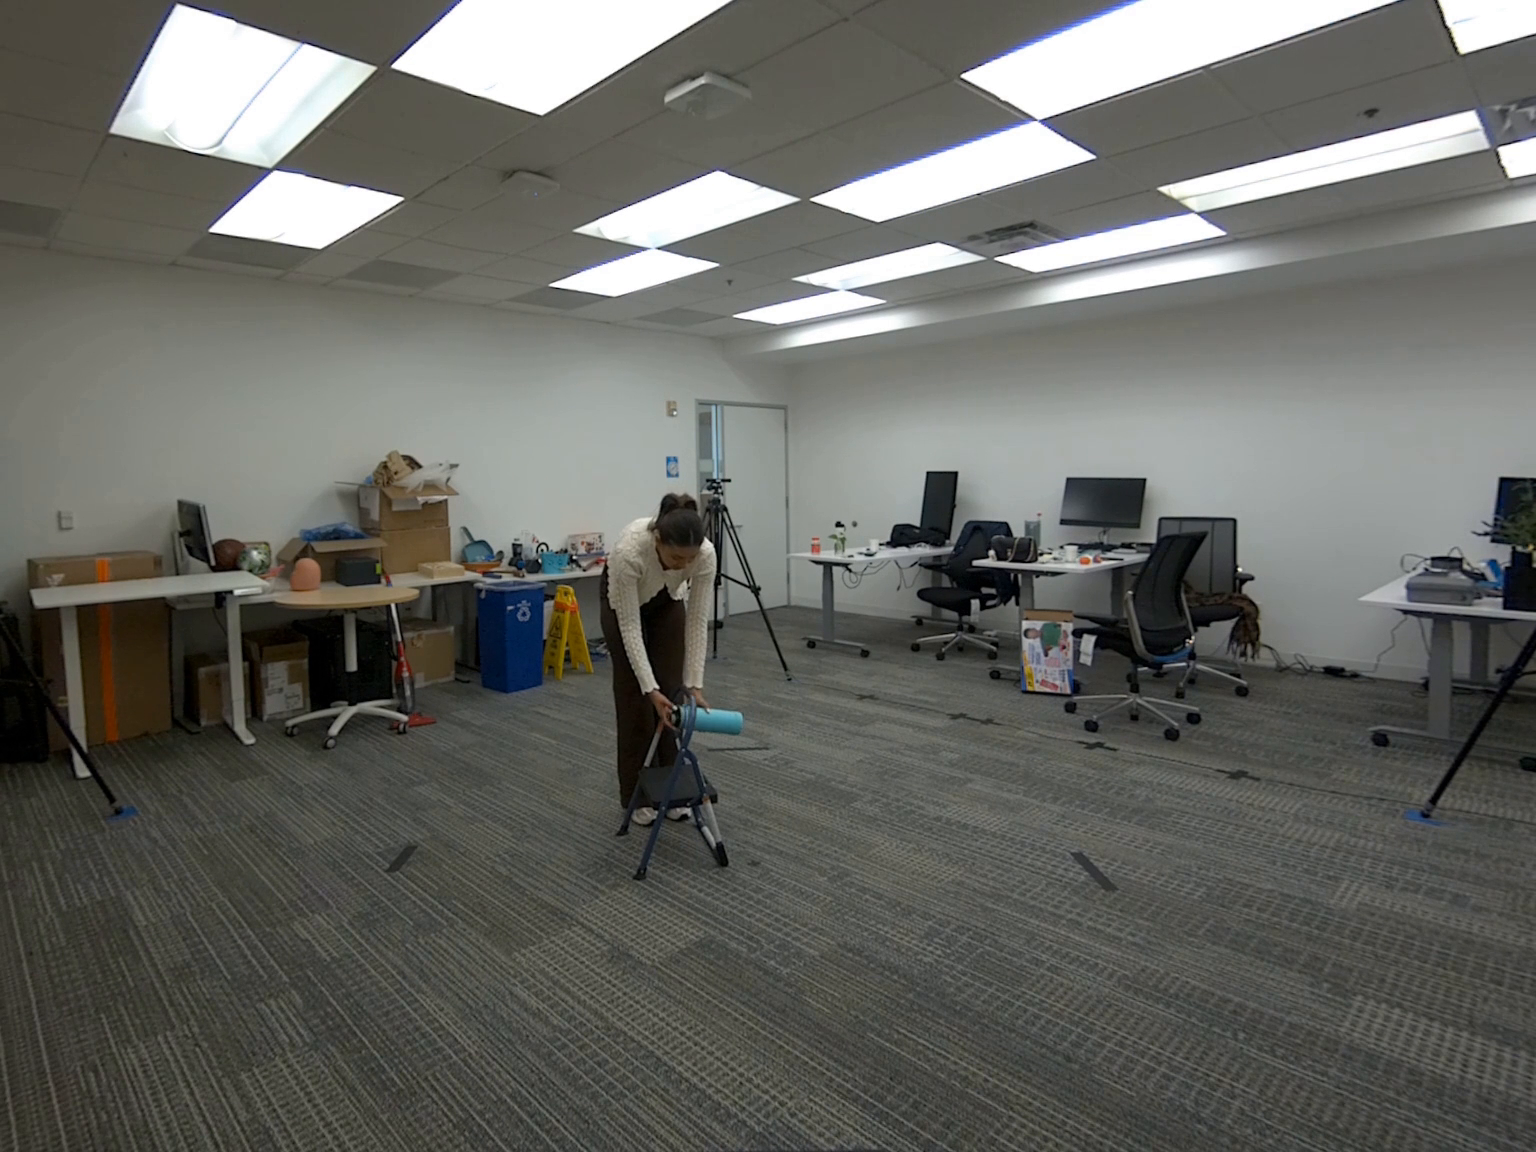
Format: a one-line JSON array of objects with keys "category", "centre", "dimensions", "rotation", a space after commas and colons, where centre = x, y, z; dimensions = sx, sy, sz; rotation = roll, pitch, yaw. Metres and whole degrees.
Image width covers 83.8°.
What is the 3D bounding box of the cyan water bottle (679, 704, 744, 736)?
[{"category": "cyan water bottle", "centre": [-0.244, 0.553, 3.297], "dimensions": [0.279, 0.092, 0.094], "rotation": [10, 2, -14]}]
